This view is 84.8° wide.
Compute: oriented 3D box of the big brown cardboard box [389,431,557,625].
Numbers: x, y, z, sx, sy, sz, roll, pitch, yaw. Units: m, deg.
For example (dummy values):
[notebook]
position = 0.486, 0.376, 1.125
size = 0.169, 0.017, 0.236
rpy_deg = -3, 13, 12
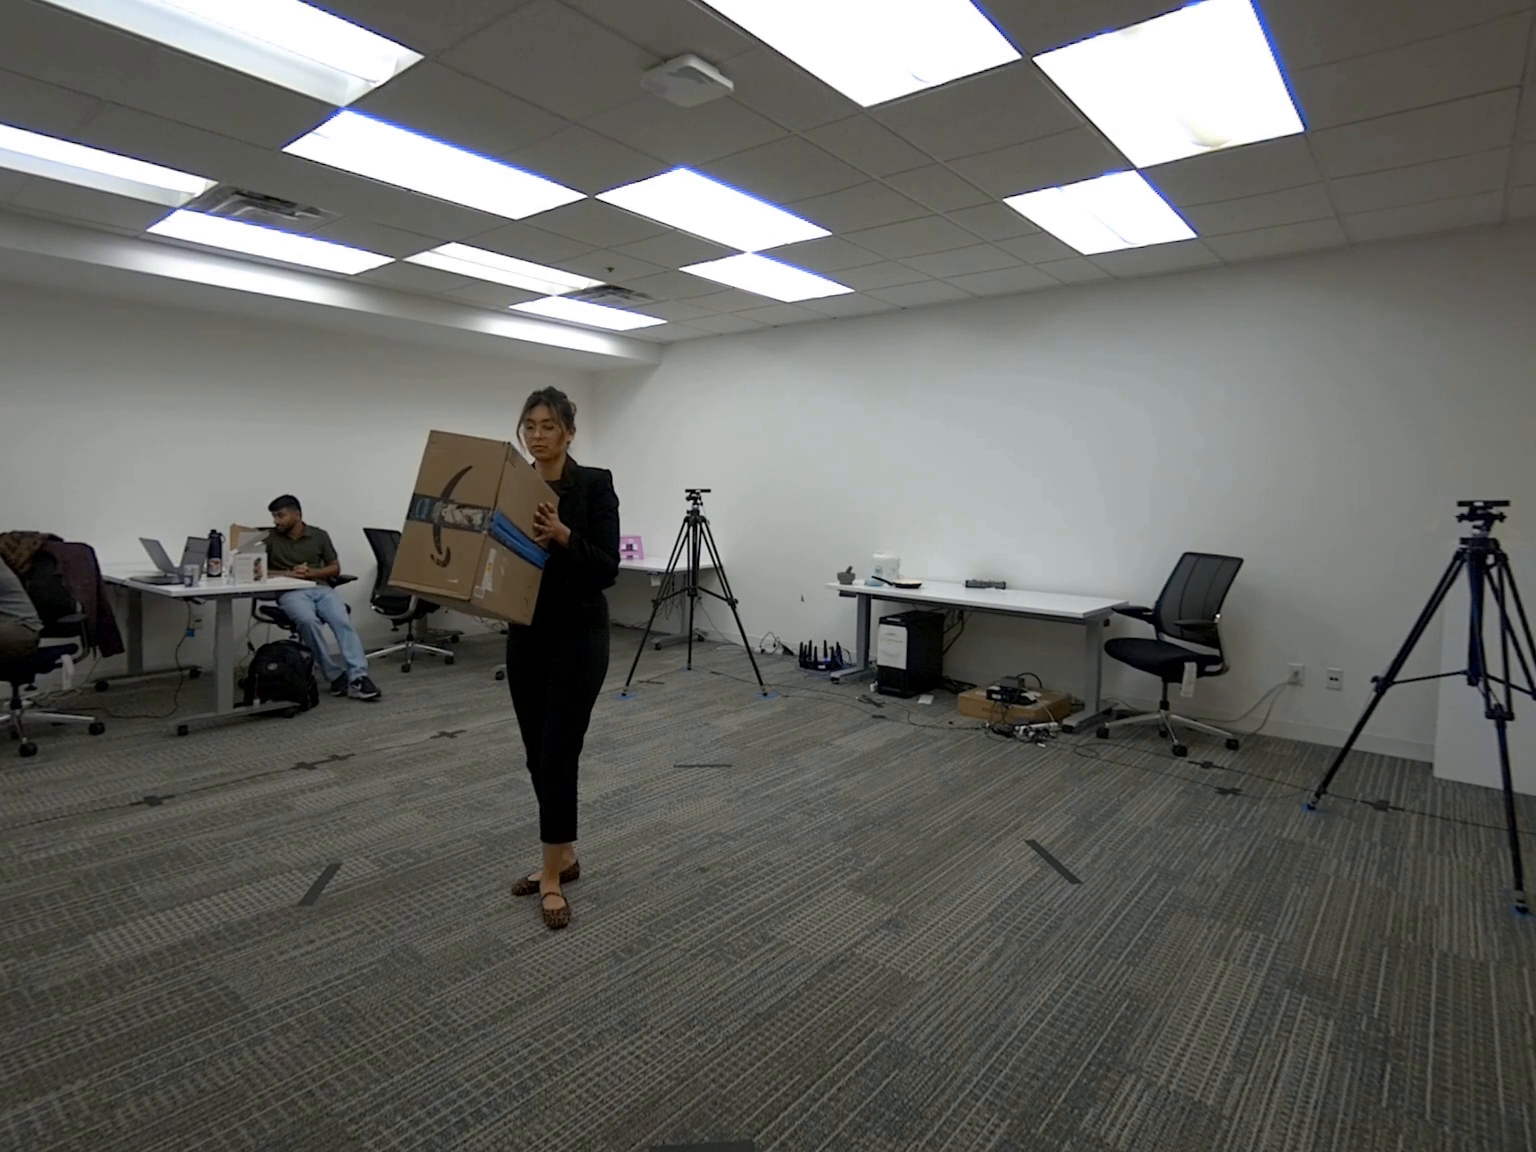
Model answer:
[big brown cardboard box]
position = -0.803, -0.116, 2.383
size = 0.234, 0.421, 0.582
rpy_deg = 9, -10, 0
